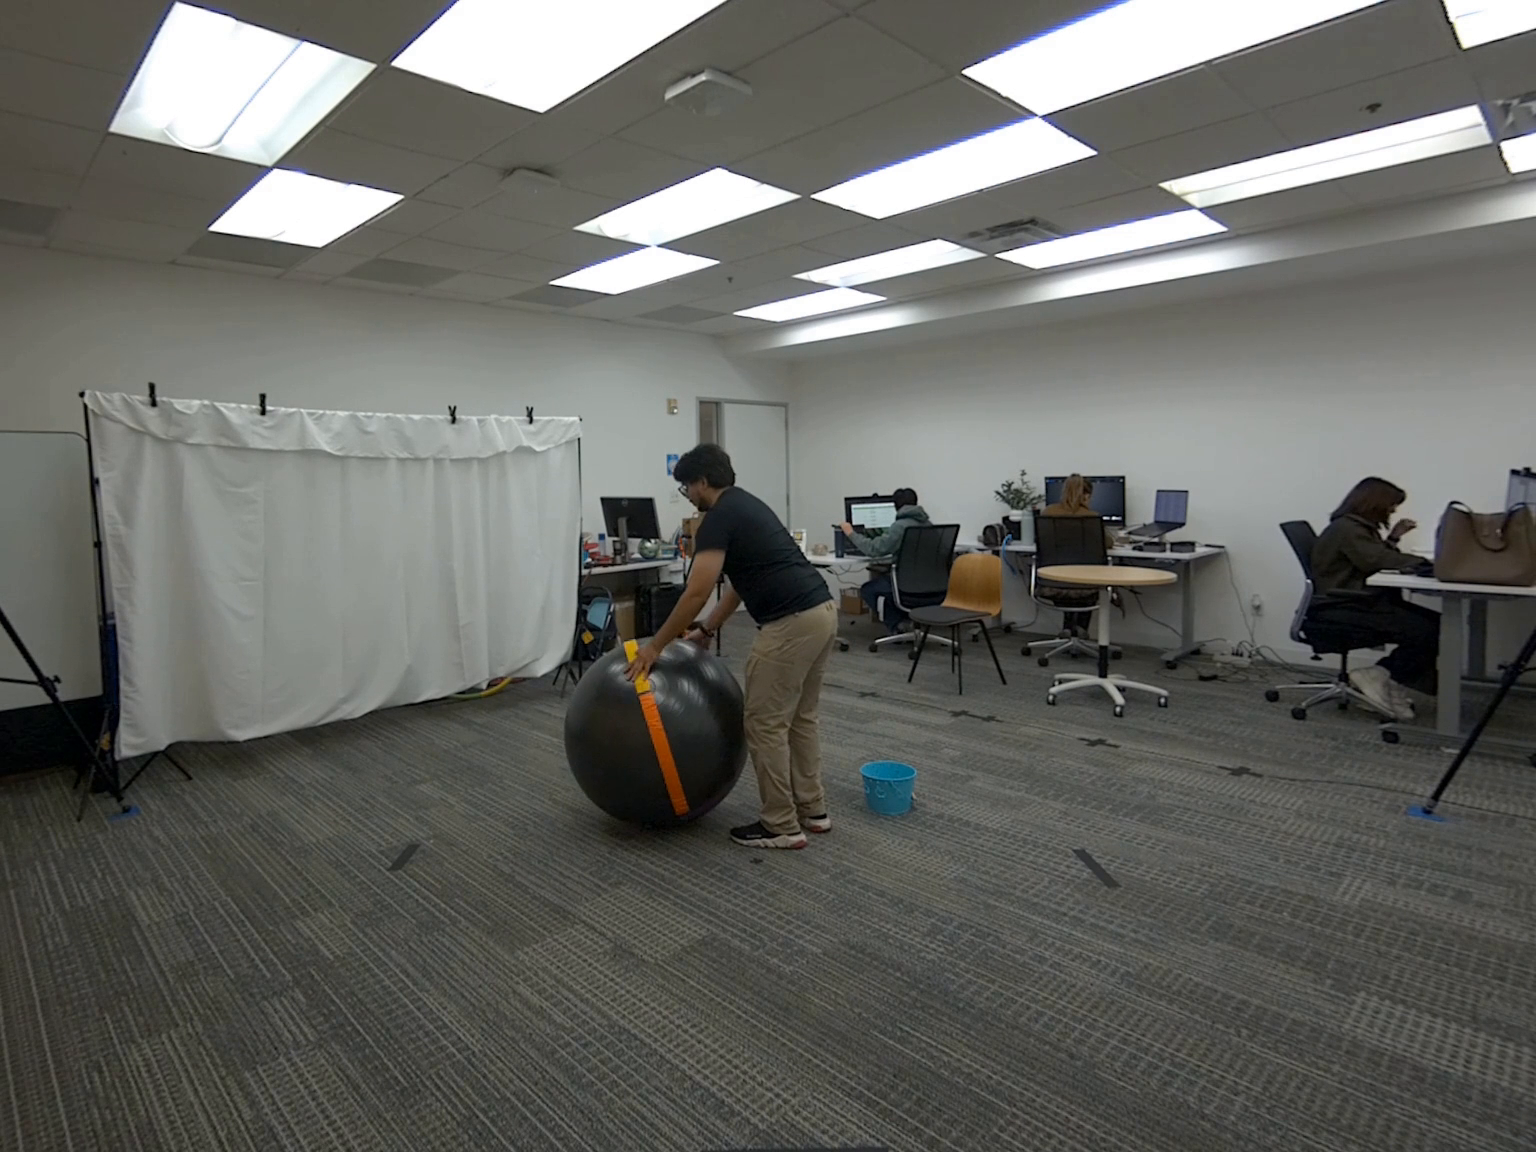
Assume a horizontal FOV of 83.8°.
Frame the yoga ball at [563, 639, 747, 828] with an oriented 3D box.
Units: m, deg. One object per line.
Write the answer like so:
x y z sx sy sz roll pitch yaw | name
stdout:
-0.450 0.630 3.490 0.757 0.755 0.762 -1 5 -2 | yoga ball
